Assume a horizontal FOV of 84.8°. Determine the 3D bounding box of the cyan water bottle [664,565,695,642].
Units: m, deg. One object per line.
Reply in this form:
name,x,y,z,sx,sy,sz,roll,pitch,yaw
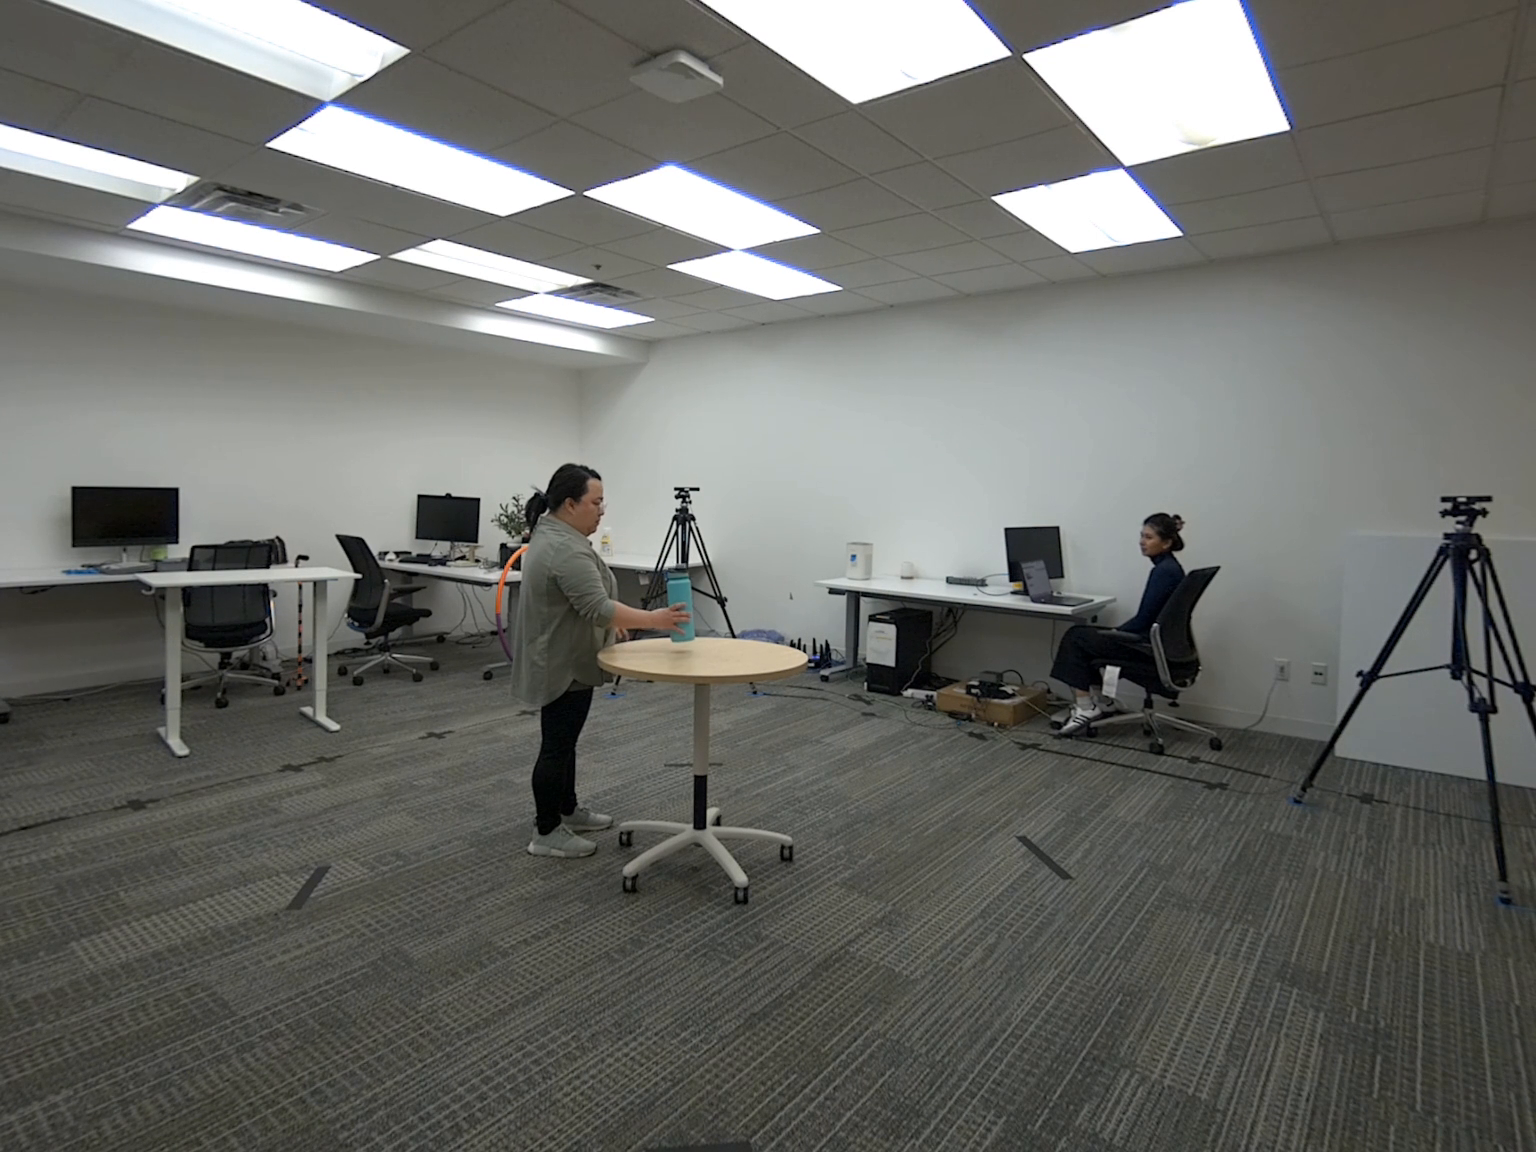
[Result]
cyan water bottle,-0.346,0.099,3.147,0.092,0.284,0.092,-6,-1,-2
